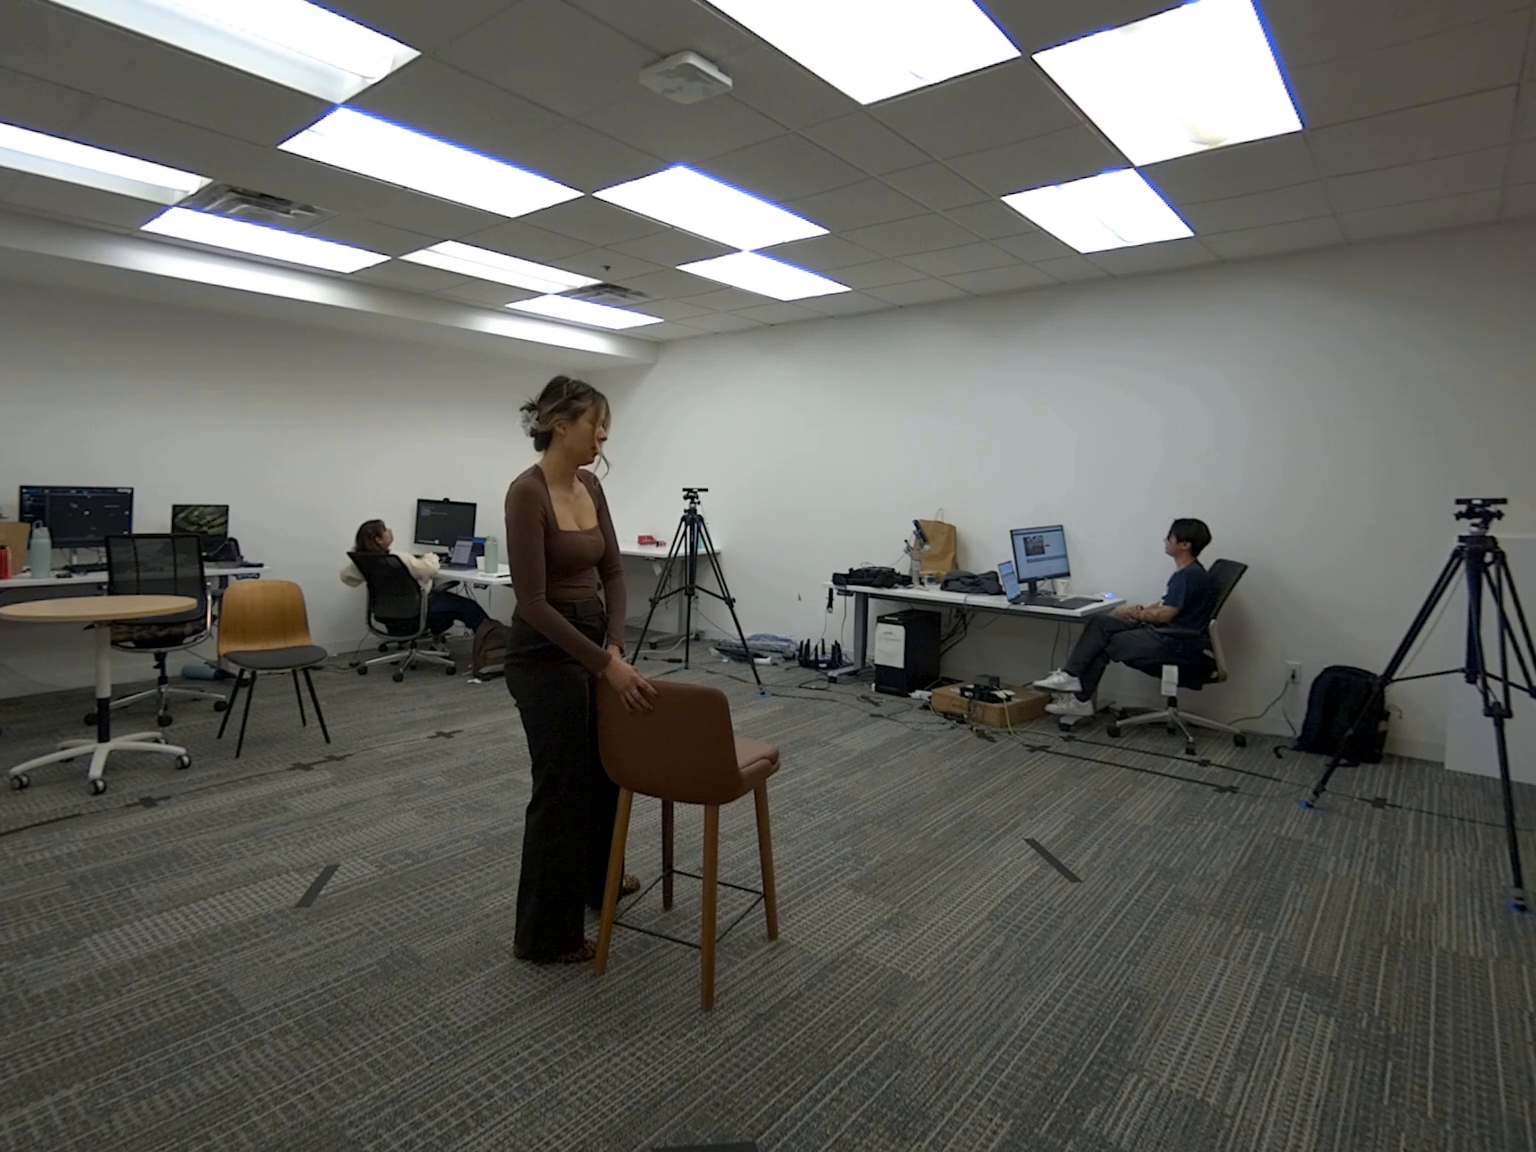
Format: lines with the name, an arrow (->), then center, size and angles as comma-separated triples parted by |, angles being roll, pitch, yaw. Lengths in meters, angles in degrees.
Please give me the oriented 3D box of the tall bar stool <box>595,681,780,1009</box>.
tall bar stool -> -0.241, 0.694, 2.504 | 0.468, 0.885, 0.458 | 3, 6, 25
